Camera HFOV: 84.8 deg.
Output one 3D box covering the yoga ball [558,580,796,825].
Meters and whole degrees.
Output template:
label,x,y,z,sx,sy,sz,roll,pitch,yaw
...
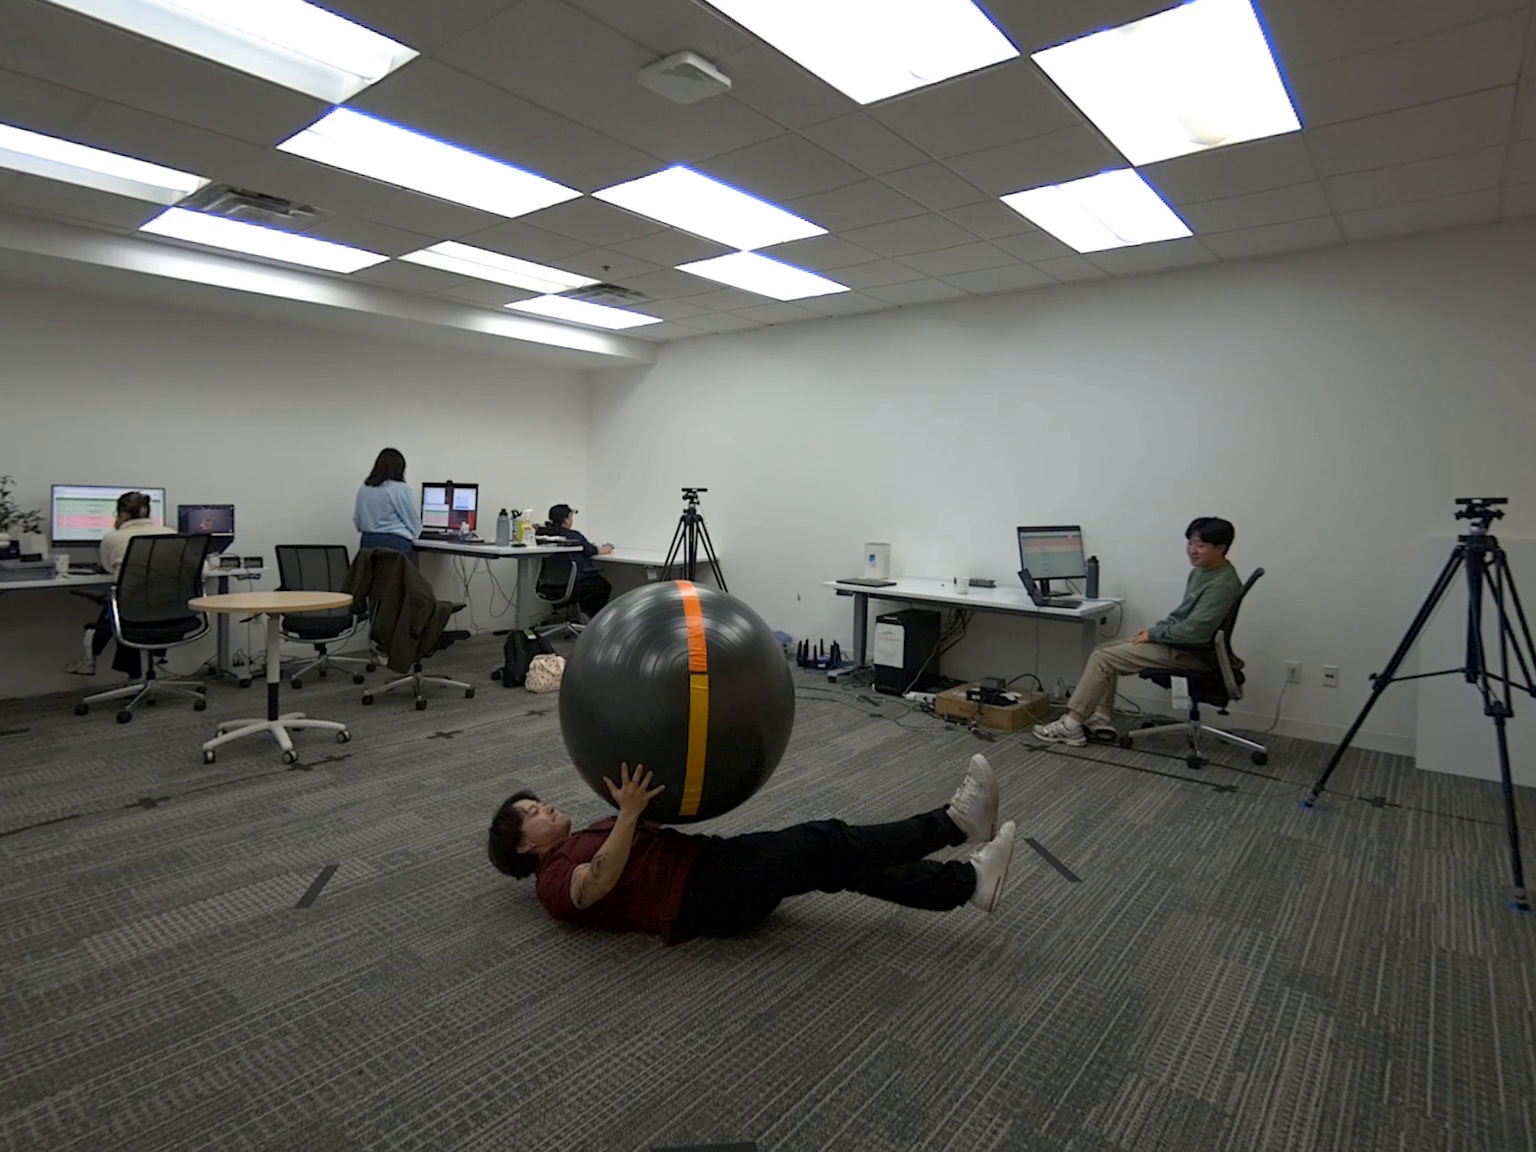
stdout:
label,x,y,z,sx,sy,sz,roll,pitch,yaw
yoga ball,-0.297,0.398,2.734,0.757,0.755,0.762,1,4,-2
